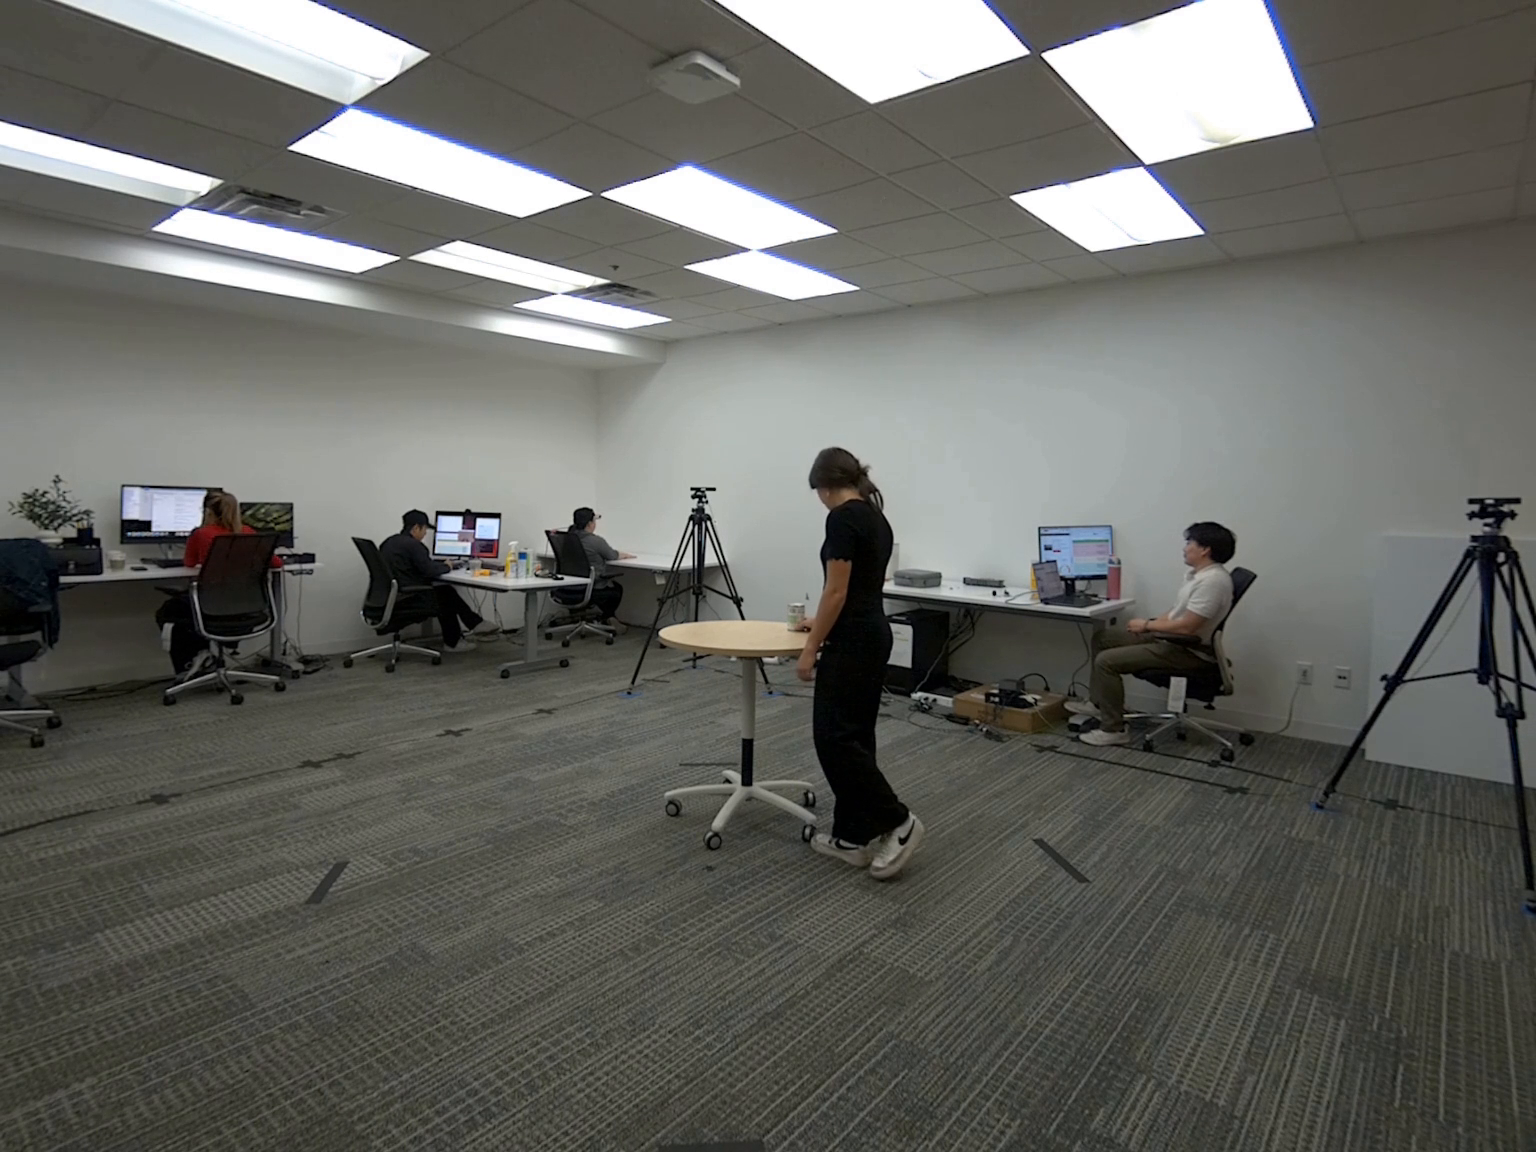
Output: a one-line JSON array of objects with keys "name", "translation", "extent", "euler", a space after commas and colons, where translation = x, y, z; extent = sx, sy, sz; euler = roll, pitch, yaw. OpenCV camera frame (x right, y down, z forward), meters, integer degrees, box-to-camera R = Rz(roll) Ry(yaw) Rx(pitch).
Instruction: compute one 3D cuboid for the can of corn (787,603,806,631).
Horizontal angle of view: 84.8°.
[{"name": "can of corn", "translation": [0.107, 0.175, 3.696], "extent": [0.074, 0.111, 0.074], "euler": [1, 1, -2]}]
